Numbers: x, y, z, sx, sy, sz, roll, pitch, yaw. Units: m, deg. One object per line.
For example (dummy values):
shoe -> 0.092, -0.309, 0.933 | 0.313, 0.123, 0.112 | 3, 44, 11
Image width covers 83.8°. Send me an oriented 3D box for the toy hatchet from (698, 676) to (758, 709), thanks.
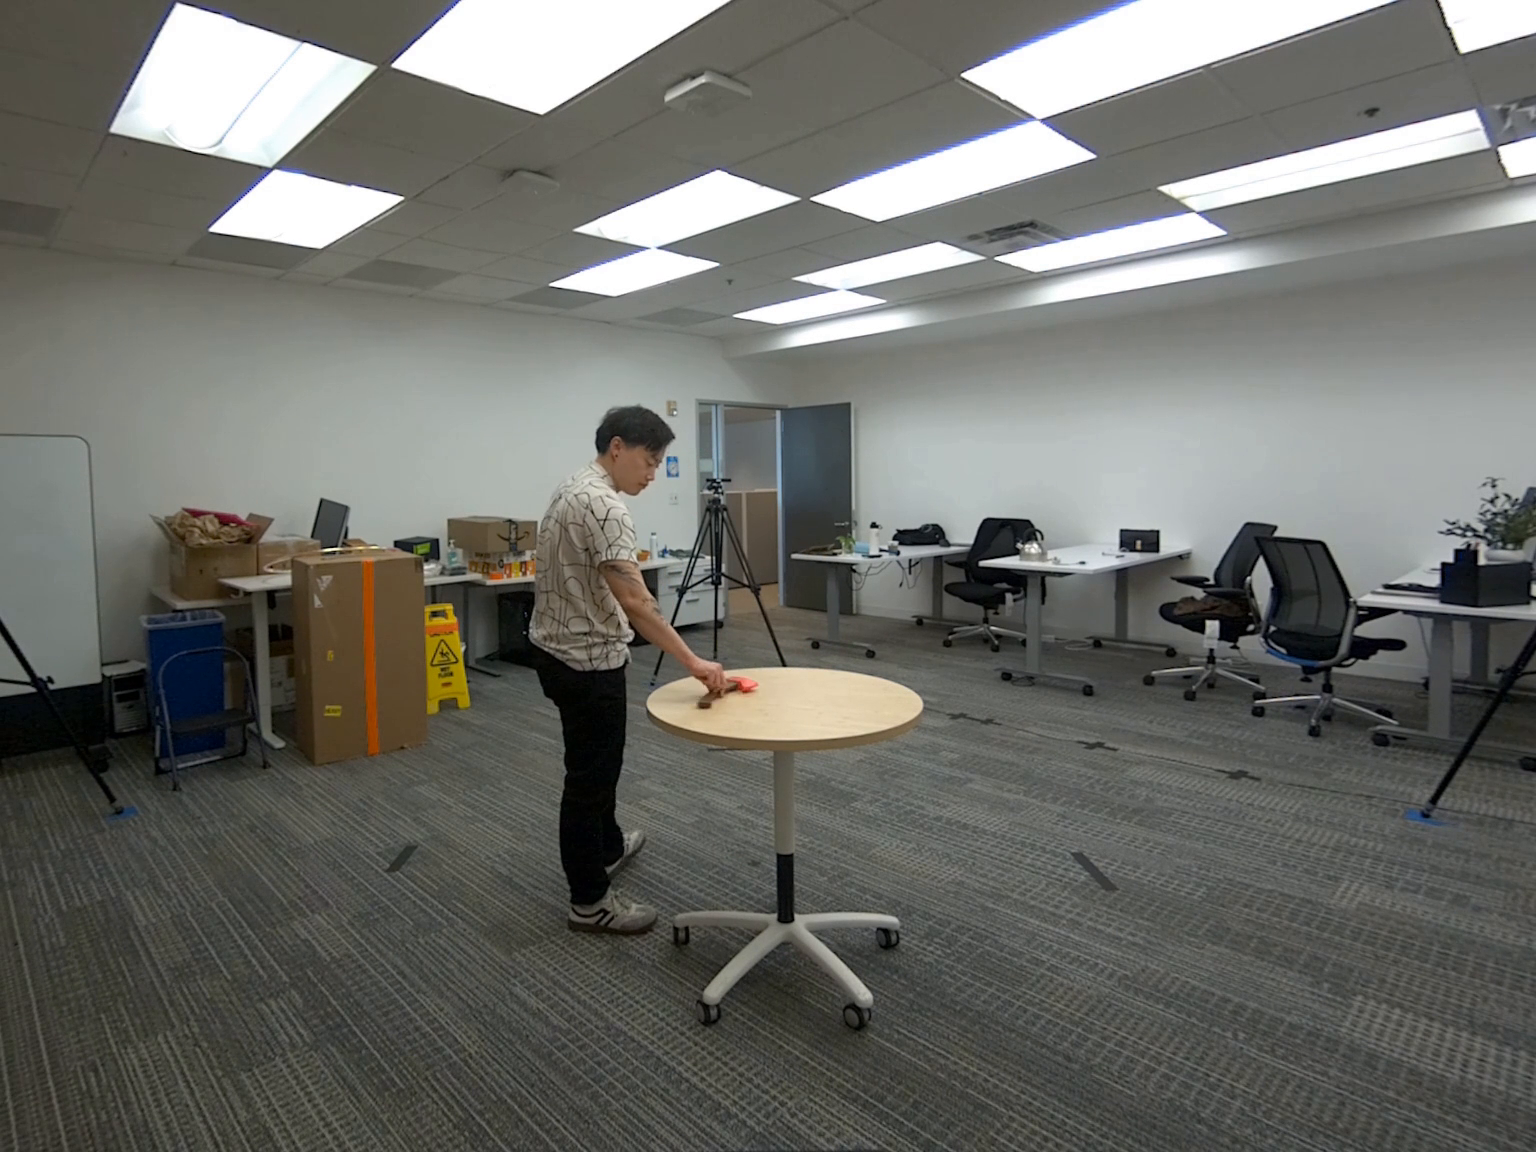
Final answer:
toy hatchet -> -0.108, 0.332, 2.401 | 0.132, 0.029, 0.269 | 1, 7, 9
